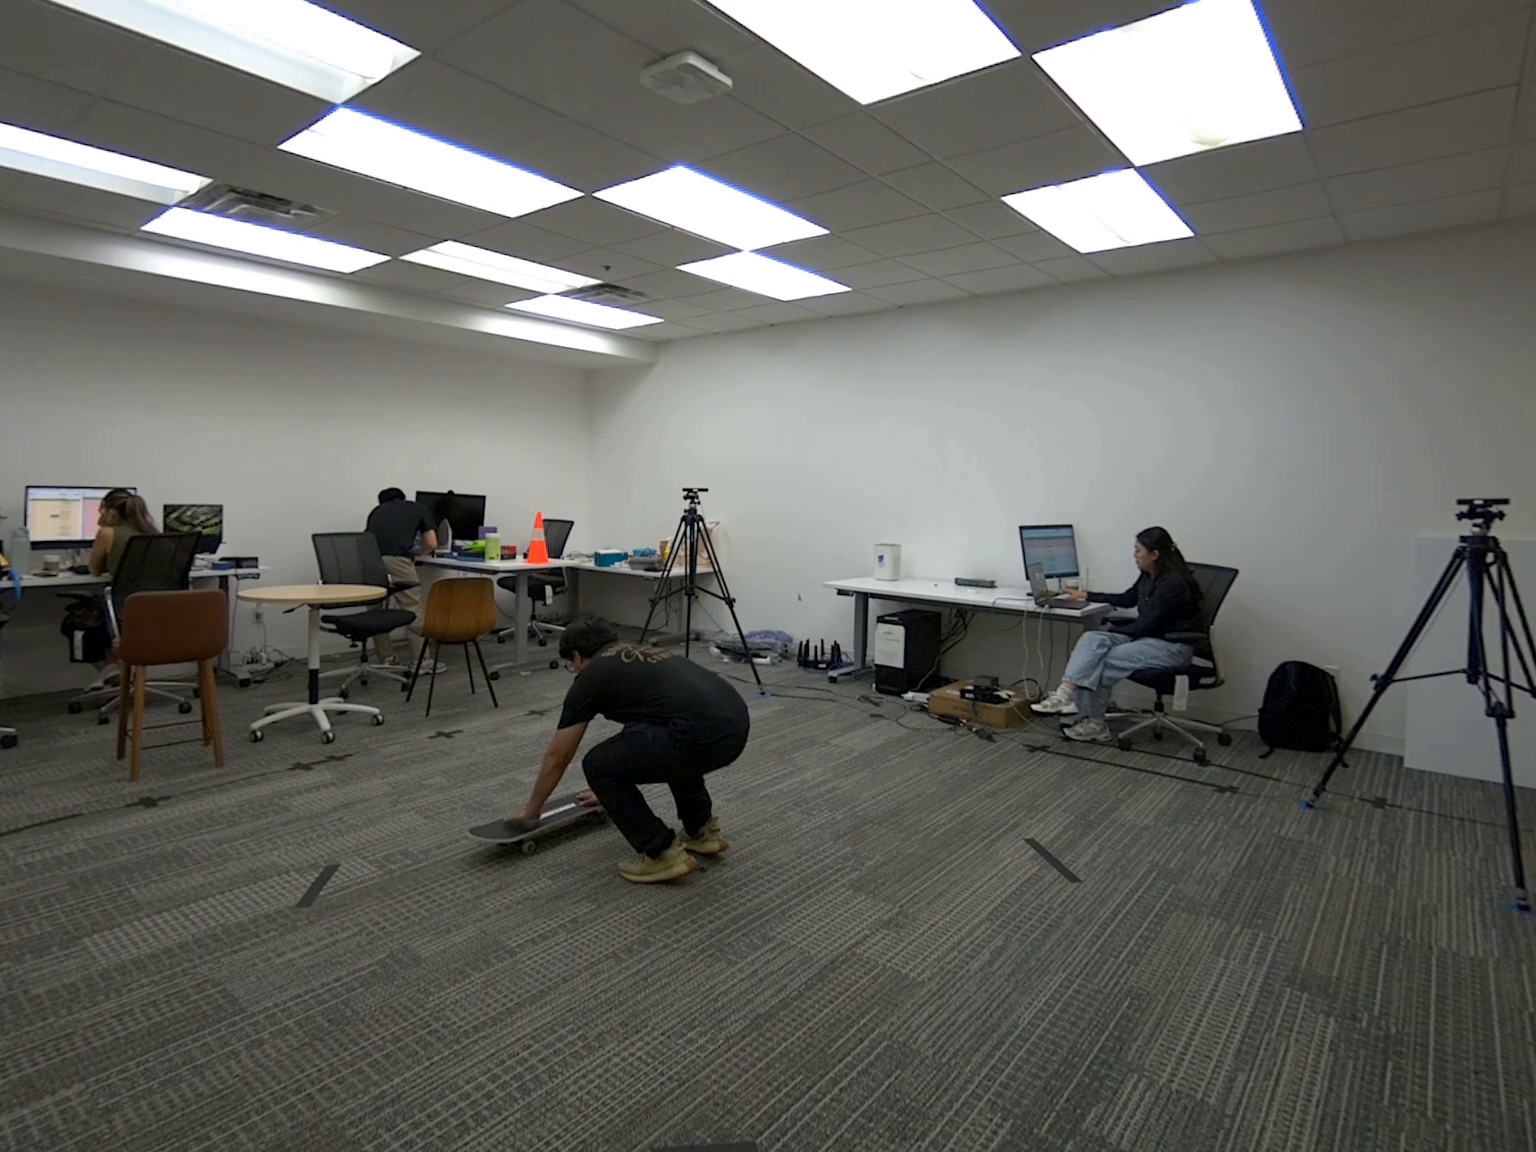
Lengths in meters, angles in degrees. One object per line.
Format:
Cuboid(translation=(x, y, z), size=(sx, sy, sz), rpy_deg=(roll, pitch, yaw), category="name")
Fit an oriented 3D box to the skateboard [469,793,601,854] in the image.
Cuboid(translation=(-0.861, 0.974, 3.411), size=(0.200, 0.110, 0.763), rpy_deg=(3, 6, 36), category="skateboard")
